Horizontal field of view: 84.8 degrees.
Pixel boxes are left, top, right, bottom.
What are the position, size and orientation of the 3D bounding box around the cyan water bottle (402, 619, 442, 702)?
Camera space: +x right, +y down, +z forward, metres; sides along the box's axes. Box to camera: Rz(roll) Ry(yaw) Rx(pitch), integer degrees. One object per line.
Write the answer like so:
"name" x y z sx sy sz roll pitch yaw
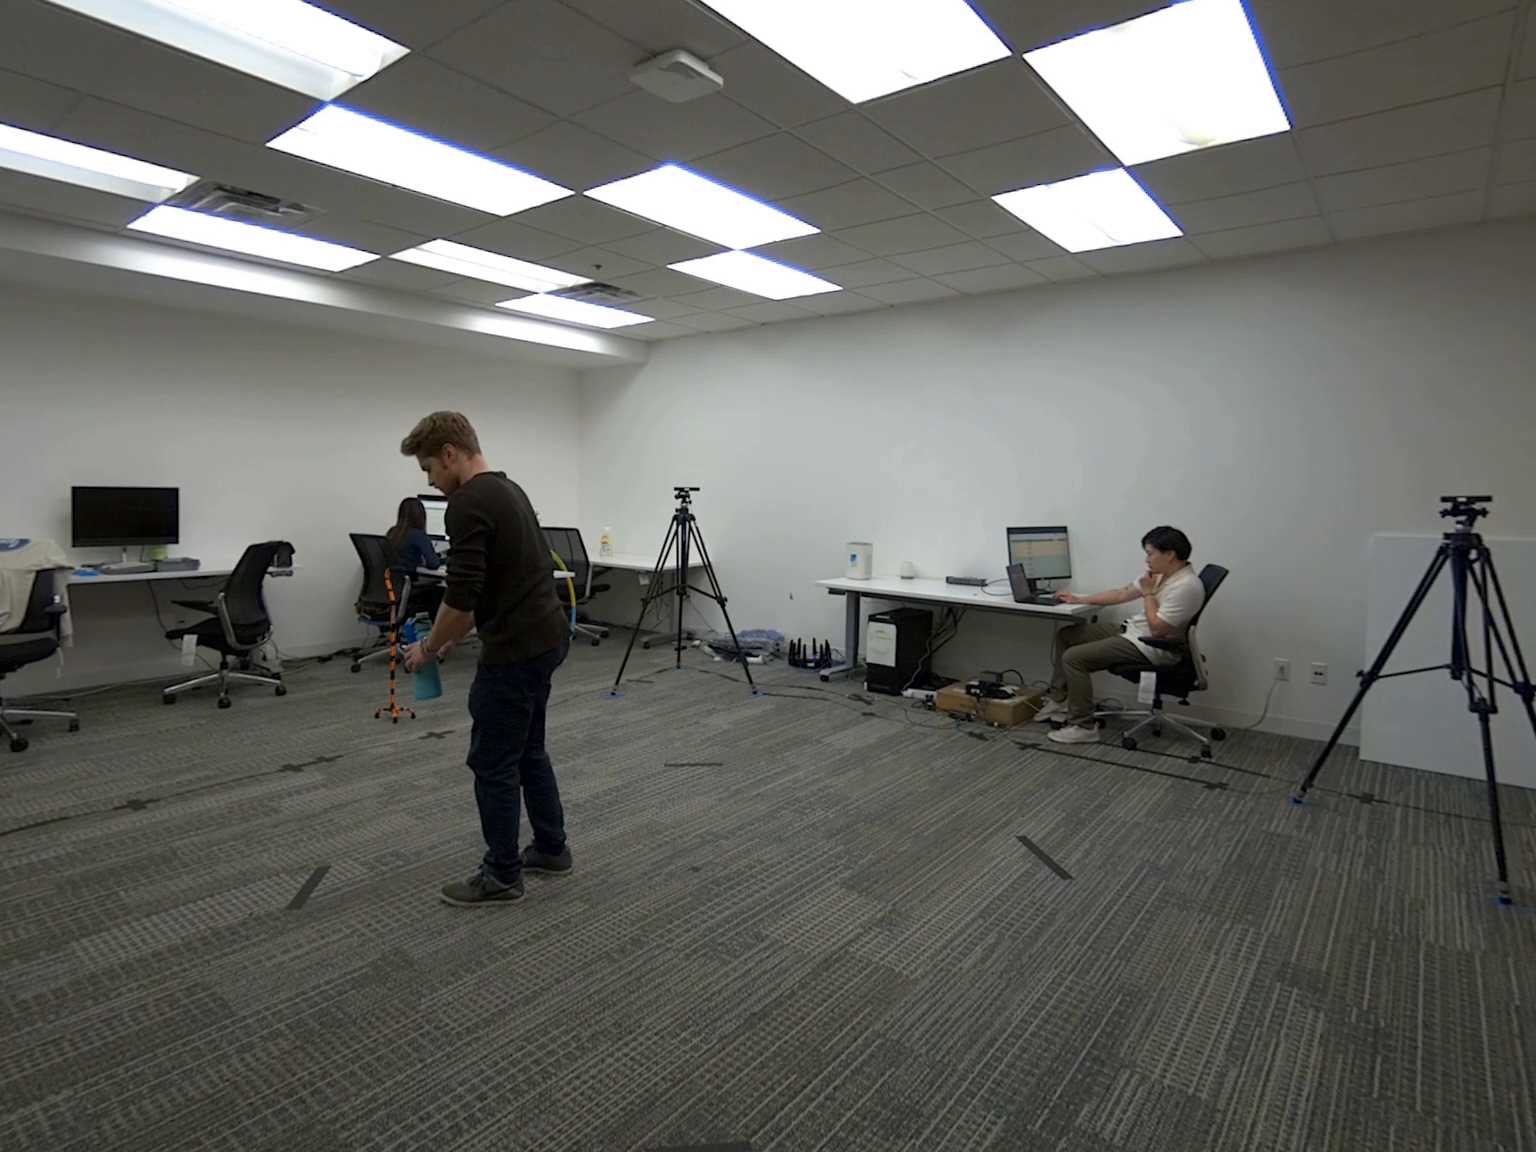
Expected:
"cyan water bottle" -1.176 0.270 2.857 0.092 0.281 0.093 -7 7 -1
